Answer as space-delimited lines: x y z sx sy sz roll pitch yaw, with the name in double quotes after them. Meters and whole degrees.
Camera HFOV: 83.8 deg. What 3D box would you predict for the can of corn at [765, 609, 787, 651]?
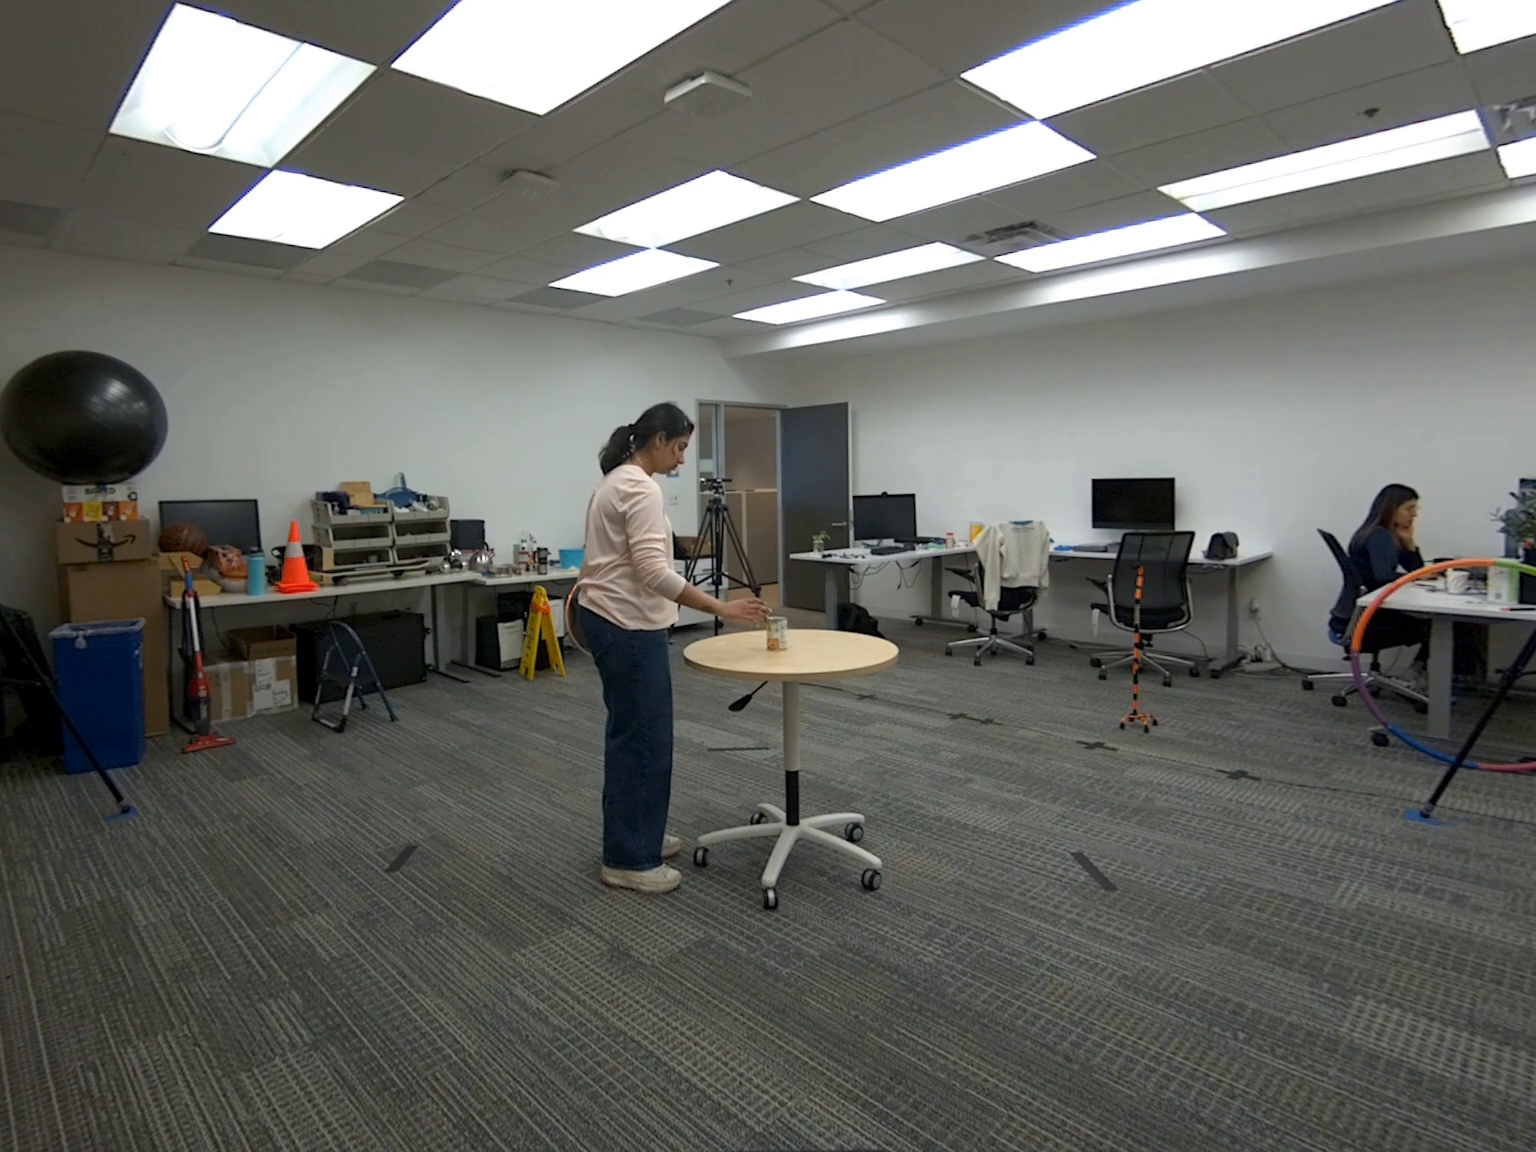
0.028 0.205 3.066 0.074 0.110 0.074 -3 5 -1 "can of corn"
